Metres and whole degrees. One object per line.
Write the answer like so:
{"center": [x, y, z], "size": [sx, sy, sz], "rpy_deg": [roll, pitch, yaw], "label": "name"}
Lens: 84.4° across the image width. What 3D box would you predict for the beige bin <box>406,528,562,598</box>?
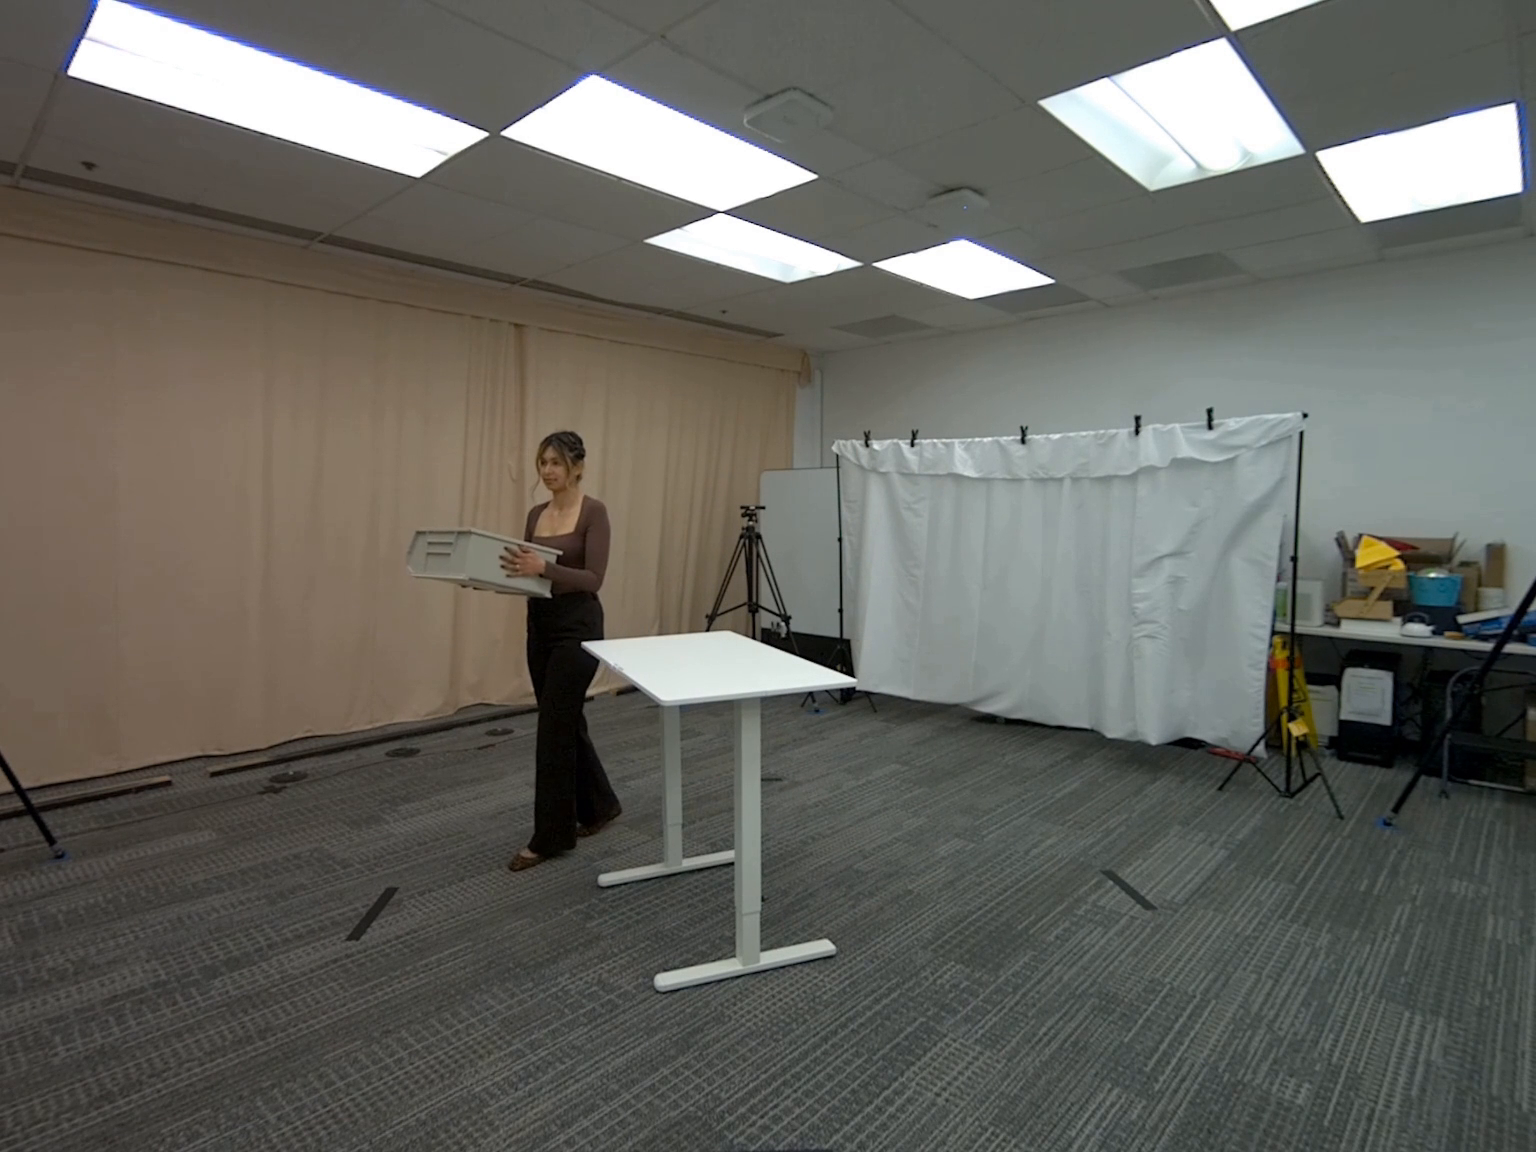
{"center": [-1.061, -0.047, 3.143], "size": [0.389, 0.189, 0.407], "rpy_deg": [3, -9, 37], "label": "beige bin"}
